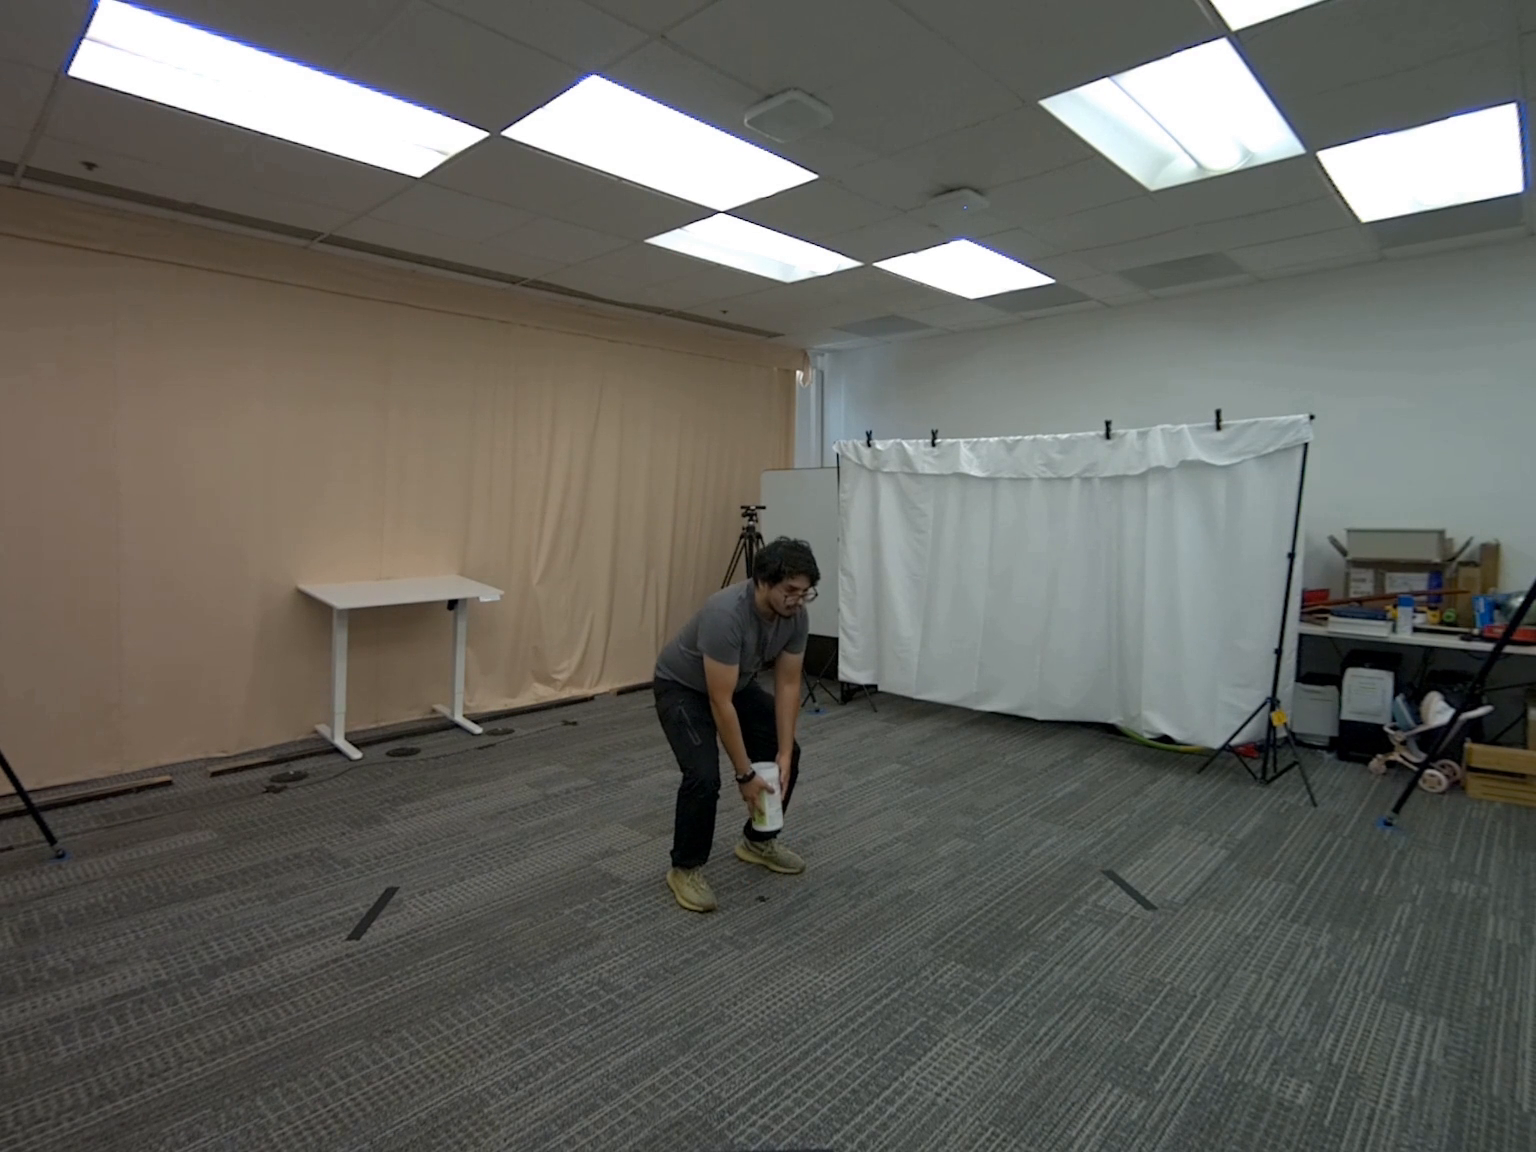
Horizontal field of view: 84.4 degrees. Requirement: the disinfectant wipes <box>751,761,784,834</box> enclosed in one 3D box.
[{"bbox_3d":[-0.008,0.772,2.960,0.118,0.217,0.118,-4,2,-2],"label":"disinfectant wipes"}]
